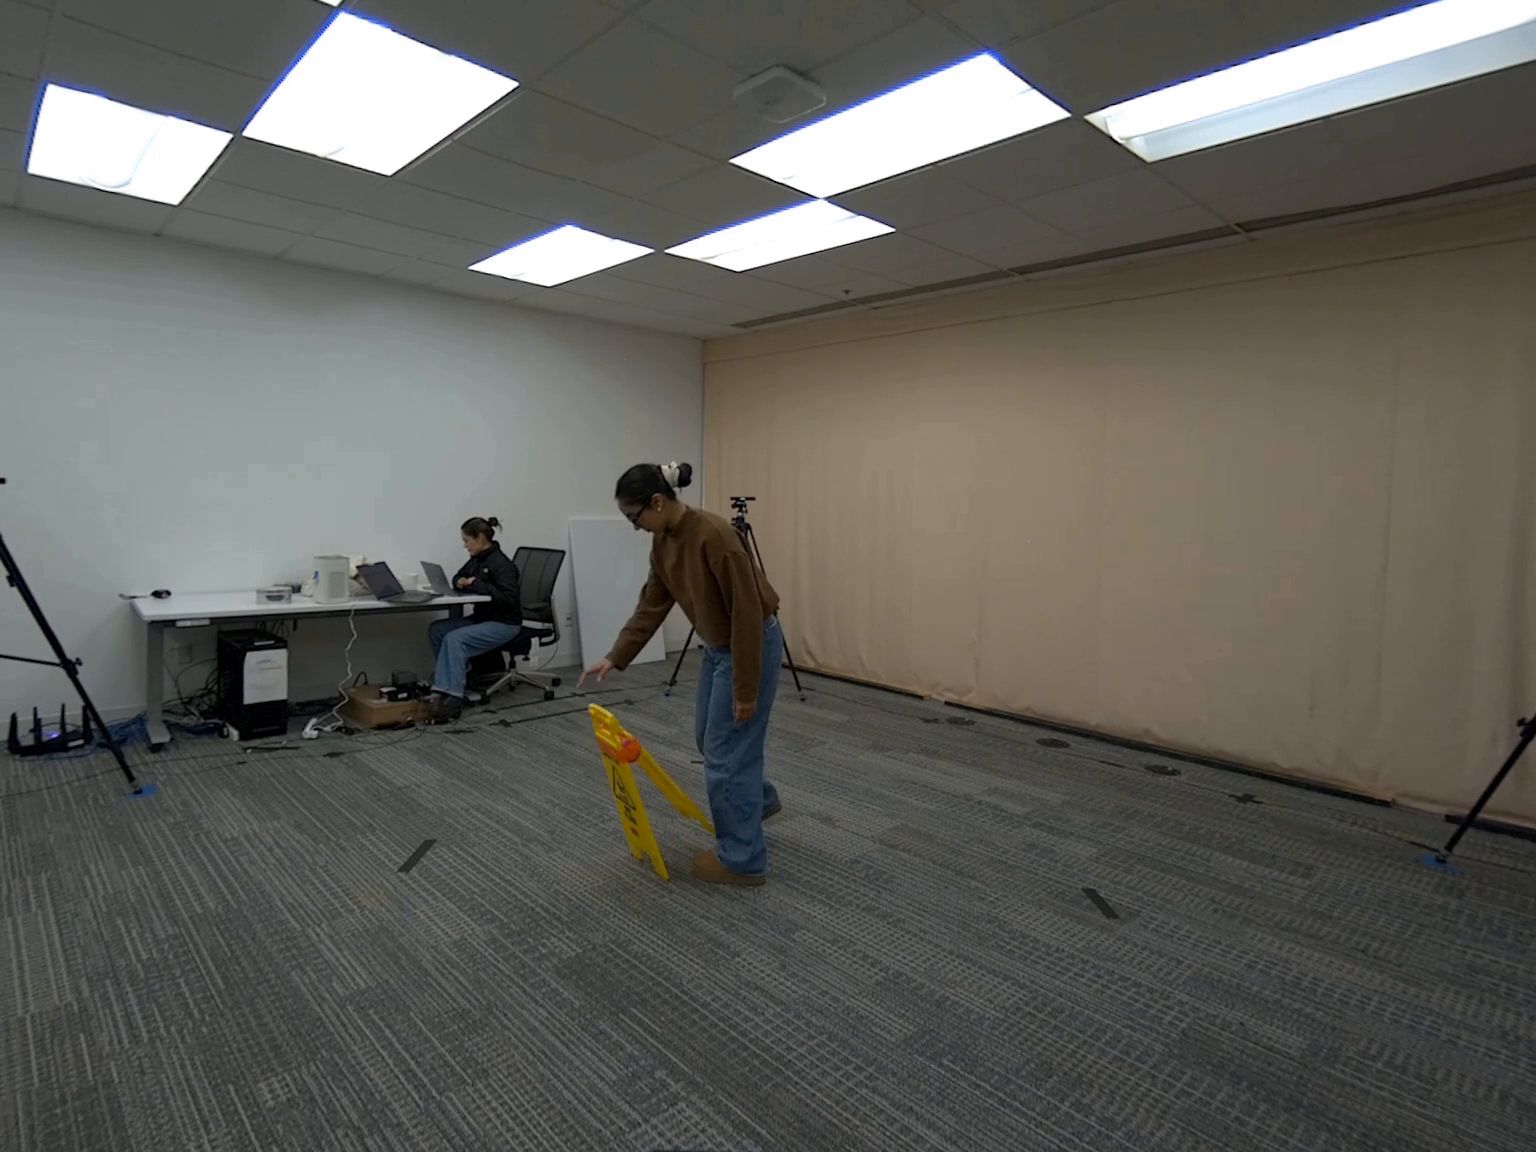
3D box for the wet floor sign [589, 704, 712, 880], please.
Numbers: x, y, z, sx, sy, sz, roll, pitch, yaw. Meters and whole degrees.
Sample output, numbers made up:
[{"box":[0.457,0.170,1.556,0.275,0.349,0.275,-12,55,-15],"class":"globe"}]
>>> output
[{"box":[-0.485,0.753,3.115,0.288,0.634,0.289,-32,23,-28],"class":"wet floor sign"}]
